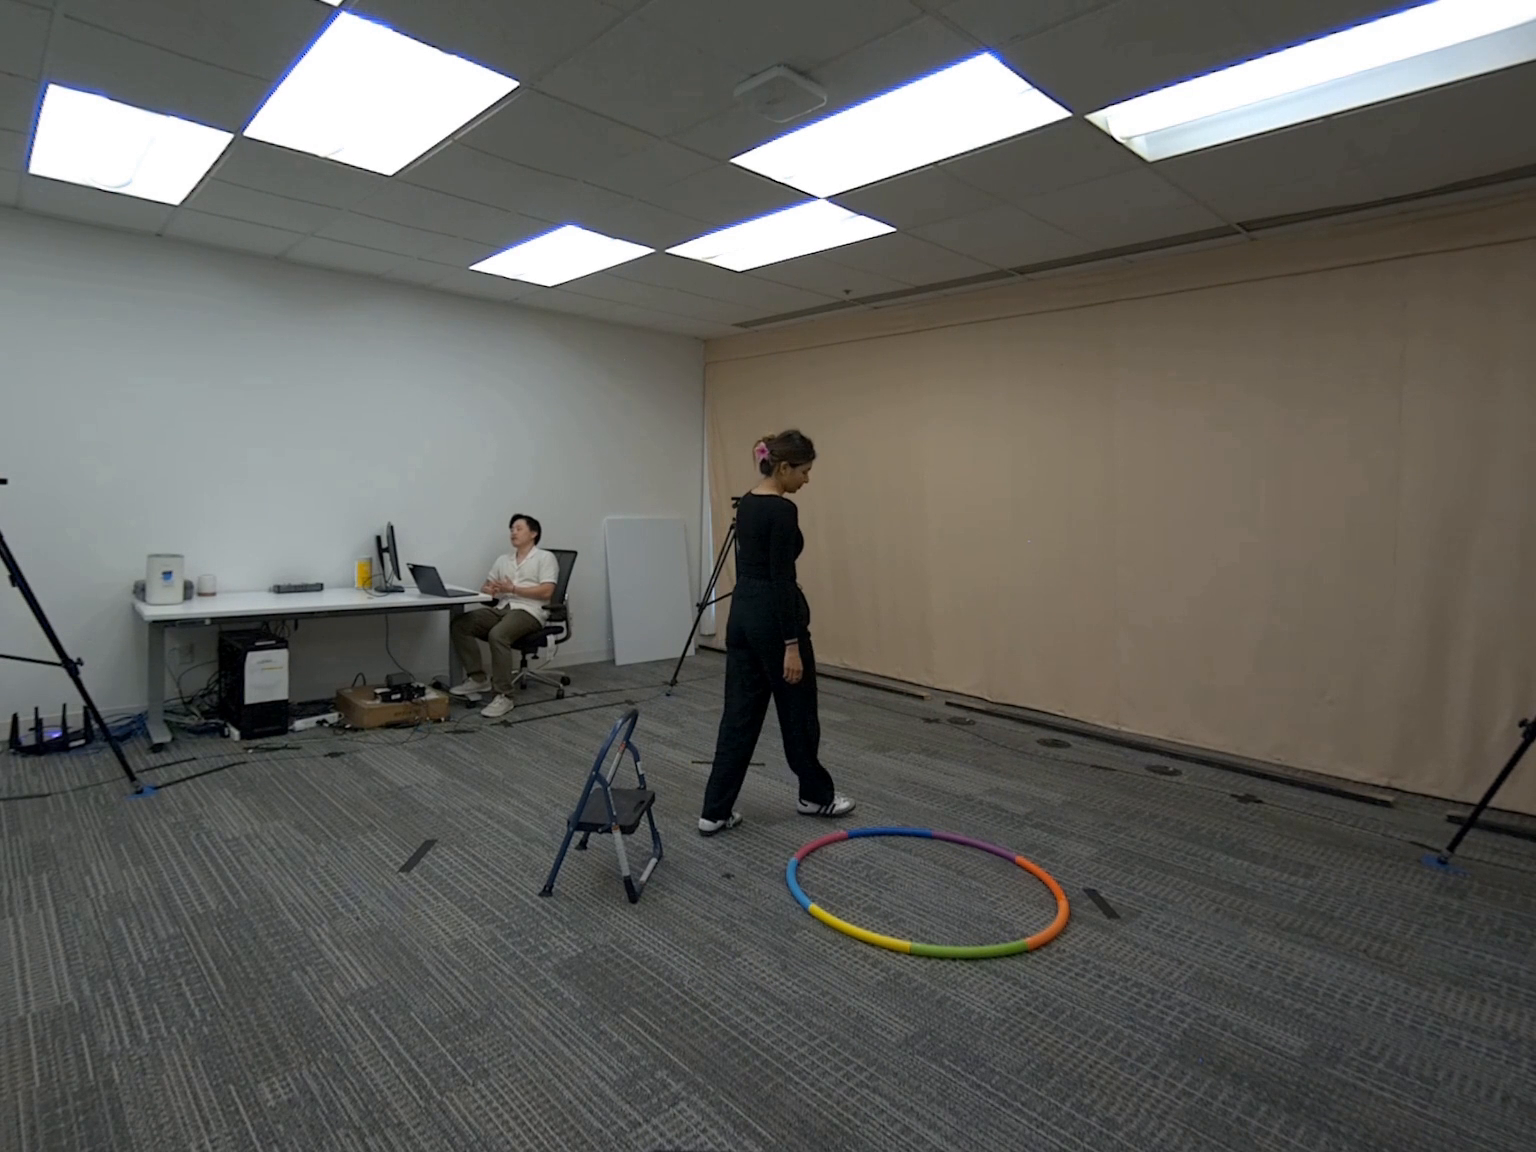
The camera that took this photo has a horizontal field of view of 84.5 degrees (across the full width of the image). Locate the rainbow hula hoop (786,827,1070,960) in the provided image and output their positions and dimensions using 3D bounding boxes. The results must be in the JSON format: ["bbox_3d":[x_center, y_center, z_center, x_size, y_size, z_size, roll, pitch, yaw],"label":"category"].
[{"bbox_3d":[0.546,1.094,3.058,0.978,0.035,0.982,1,5,-1],"label":"rainbow hula hoop"}]
